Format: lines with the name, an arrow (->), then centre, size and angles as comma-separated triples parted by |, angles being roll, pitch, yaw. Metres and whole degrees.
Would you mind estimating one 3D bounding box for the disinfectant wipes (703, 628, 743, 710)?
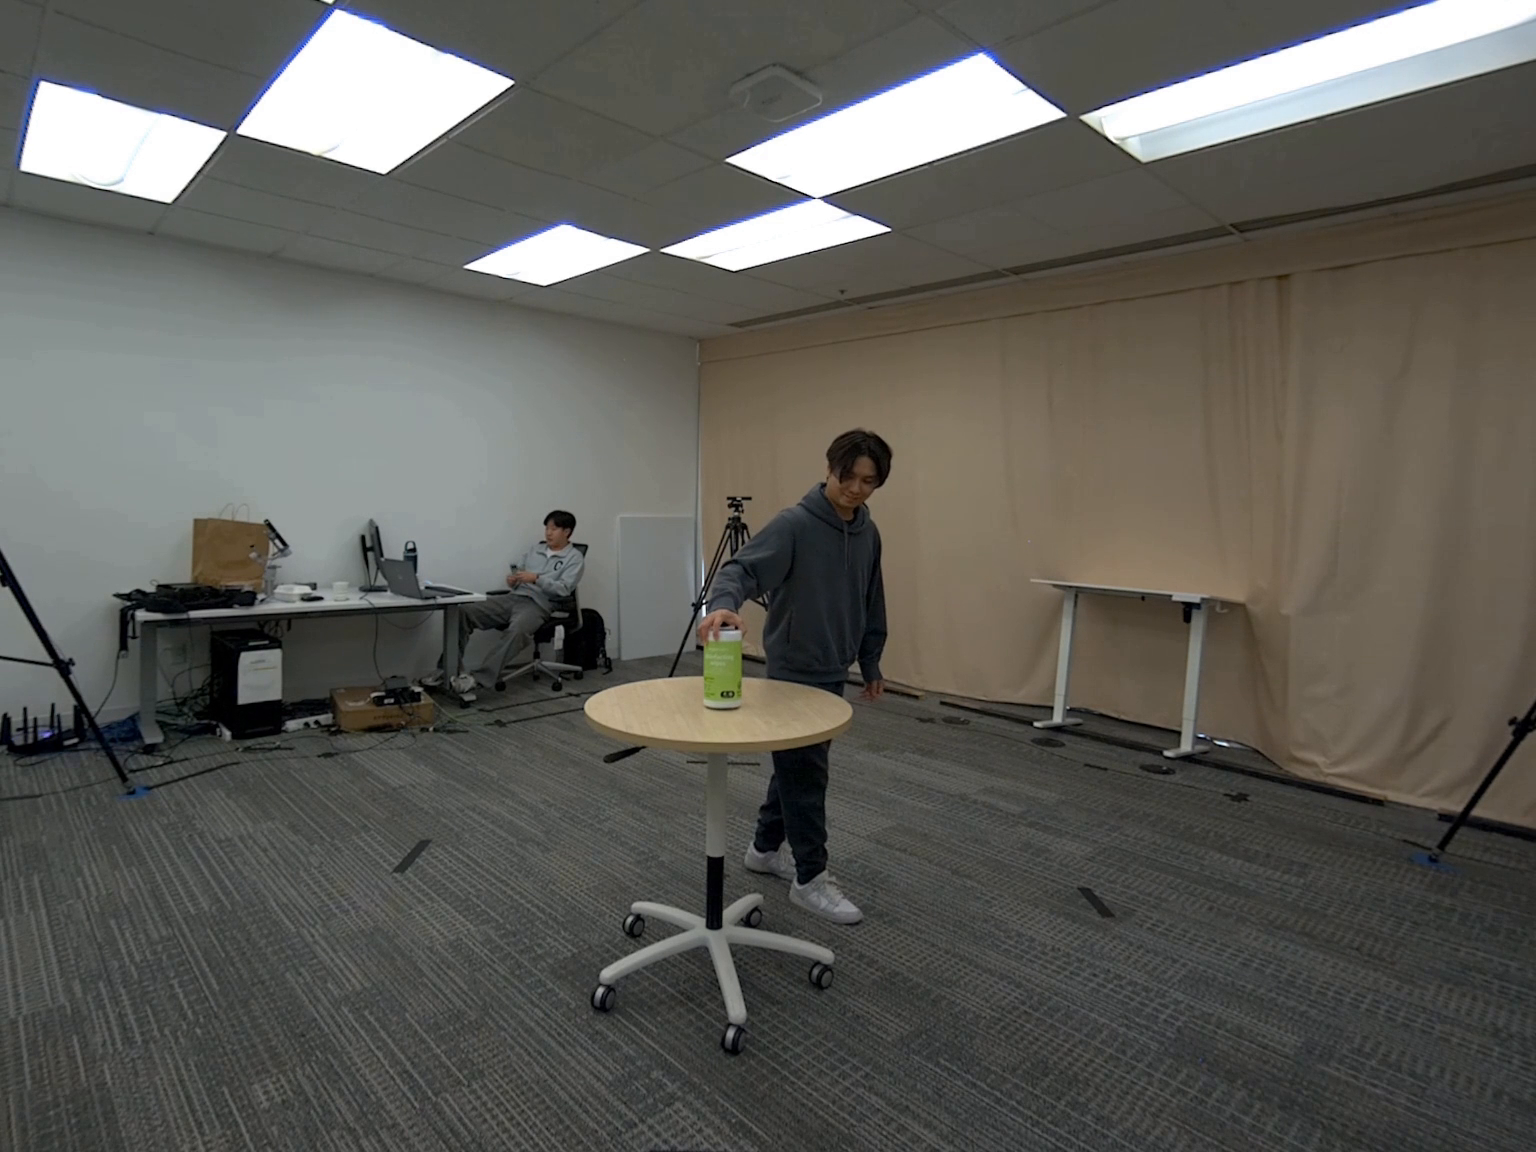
disinfectant wipes -> -0.135, 0.266, 2.396 | 0.118, 0.217, 0.118 | 2, -1, -1
